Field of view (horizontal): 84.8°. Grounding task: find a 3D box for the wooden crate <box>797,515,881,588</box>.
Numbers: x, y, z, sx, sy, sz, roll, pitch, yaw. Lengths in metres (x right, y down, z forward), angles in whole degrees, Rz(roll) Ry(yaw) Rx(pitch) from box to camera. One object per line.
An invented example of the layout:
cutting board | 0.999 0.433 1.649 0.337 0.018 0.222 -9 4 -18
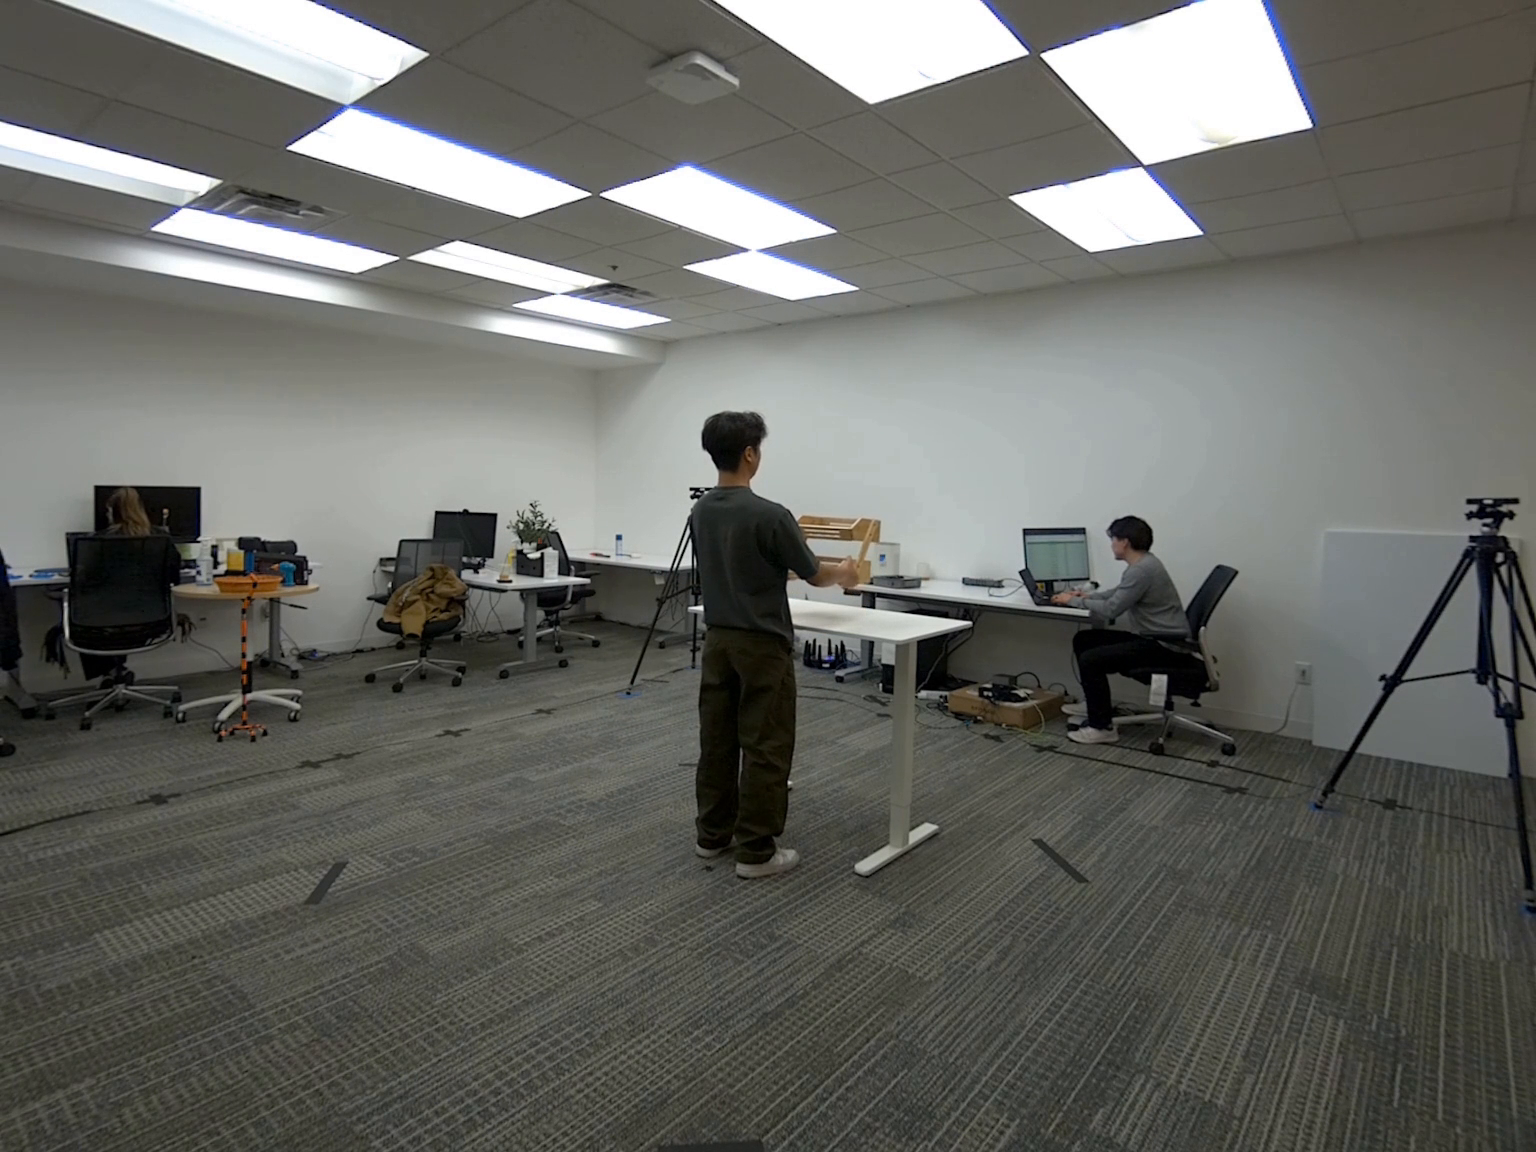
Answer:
wooden crate | 0.235 -0.120 3.485 0.336 0.273 0.292 6 3 40
